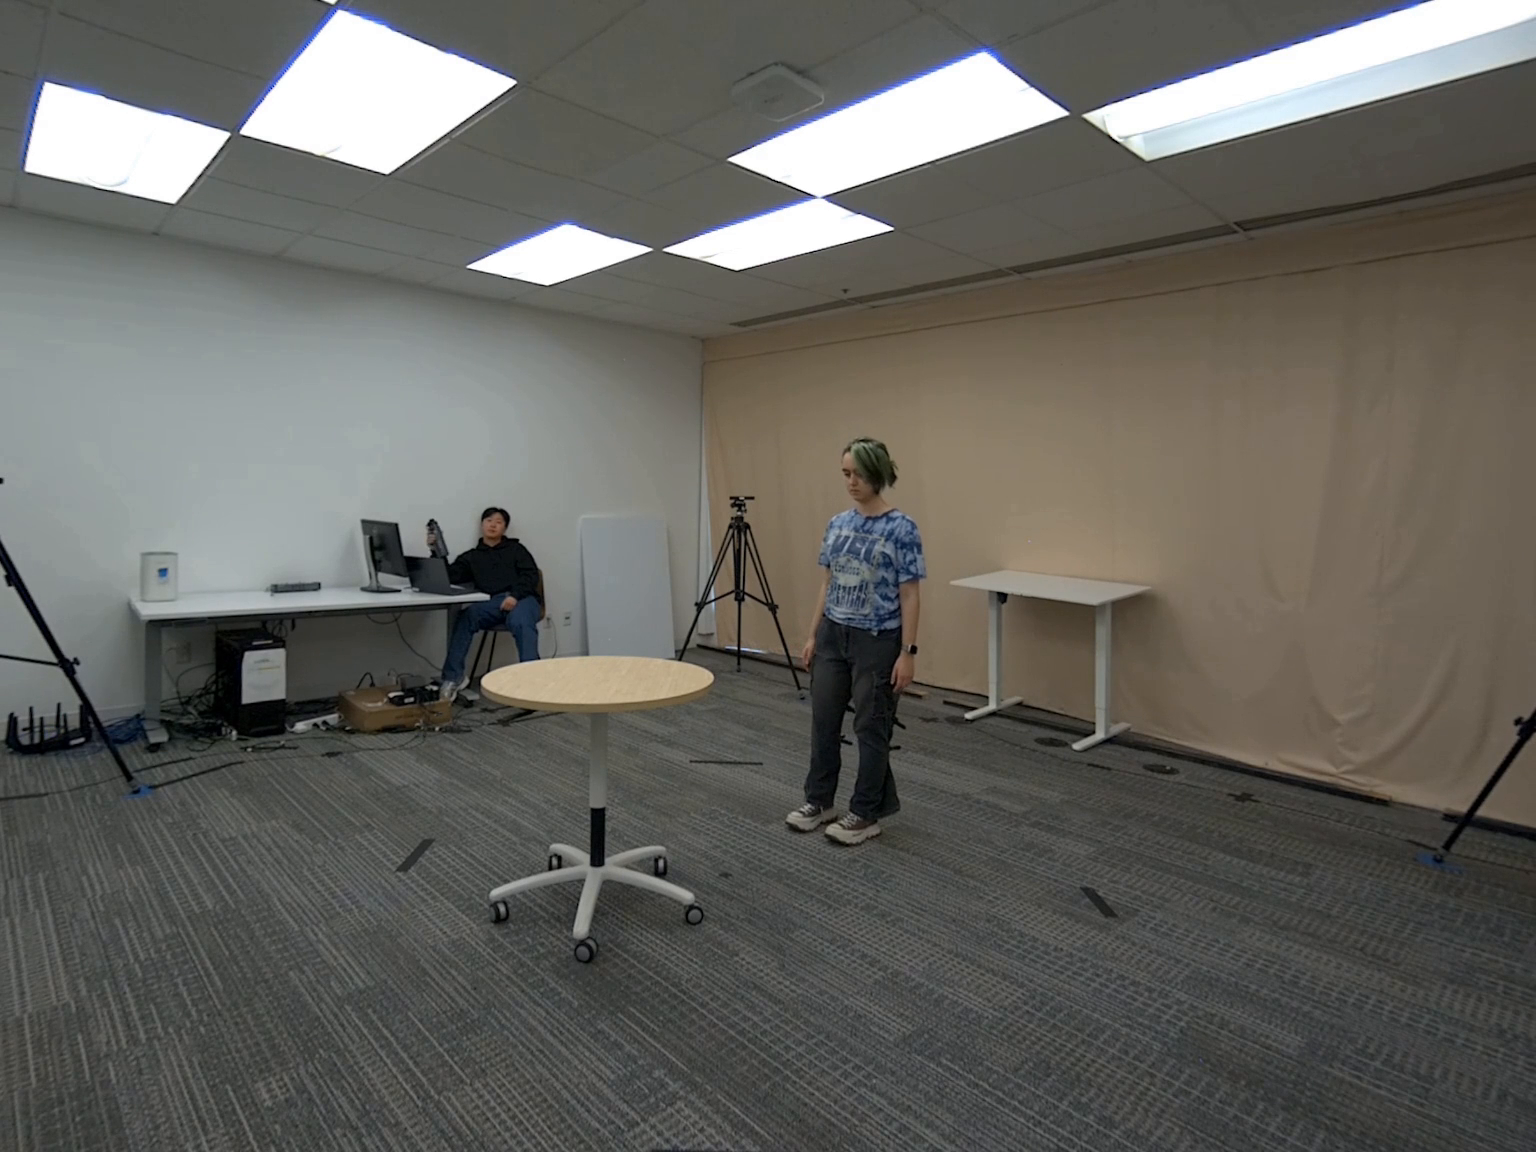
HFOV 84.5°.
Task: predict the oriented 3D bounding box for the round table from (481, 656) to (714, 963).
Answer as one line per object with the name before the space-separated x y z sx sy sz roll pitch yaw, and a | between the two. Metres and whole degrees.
round table | -0.578 0.732 2.832 0.763 0.792 0.766 1 4 -1
